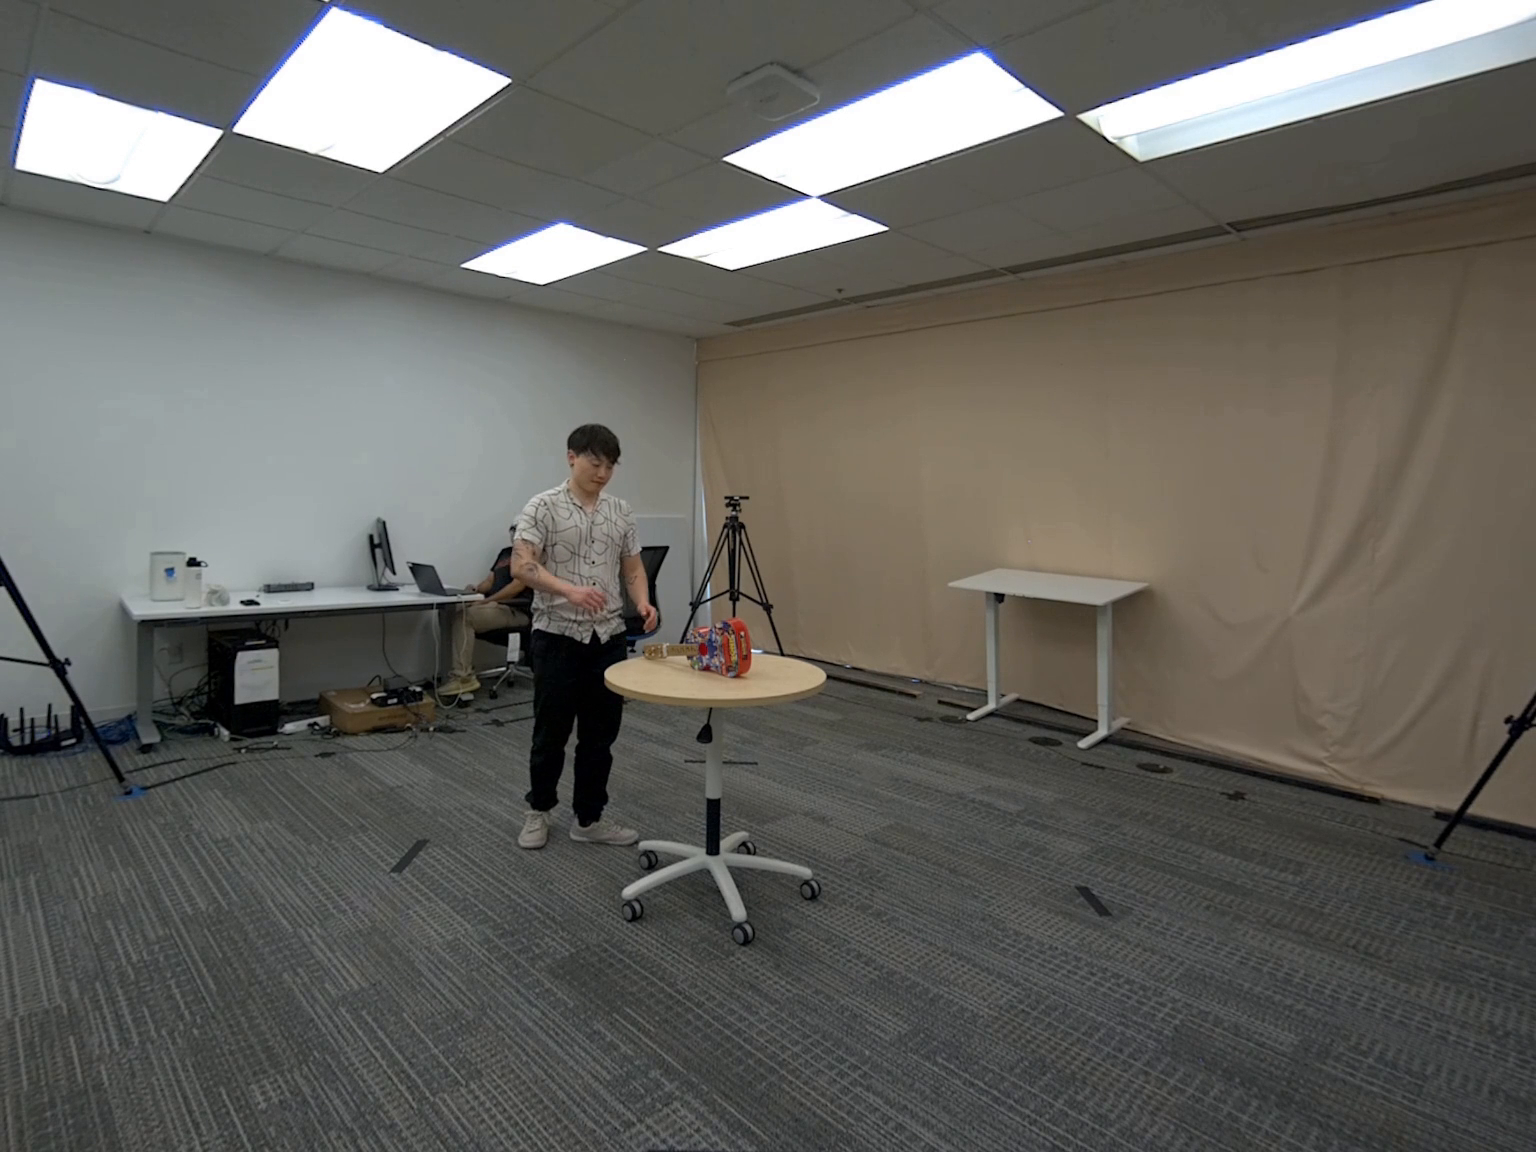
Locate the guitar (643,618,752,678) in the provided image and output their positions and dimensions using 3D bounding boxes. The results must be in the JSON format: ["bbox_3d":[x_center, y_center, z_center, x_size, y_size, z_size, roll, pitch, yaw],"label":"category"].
[{"bbox_3d":[-0.272,0.235,2.979,0.510,0.192,0.069,4,6,42],"label":"guitar"}]
